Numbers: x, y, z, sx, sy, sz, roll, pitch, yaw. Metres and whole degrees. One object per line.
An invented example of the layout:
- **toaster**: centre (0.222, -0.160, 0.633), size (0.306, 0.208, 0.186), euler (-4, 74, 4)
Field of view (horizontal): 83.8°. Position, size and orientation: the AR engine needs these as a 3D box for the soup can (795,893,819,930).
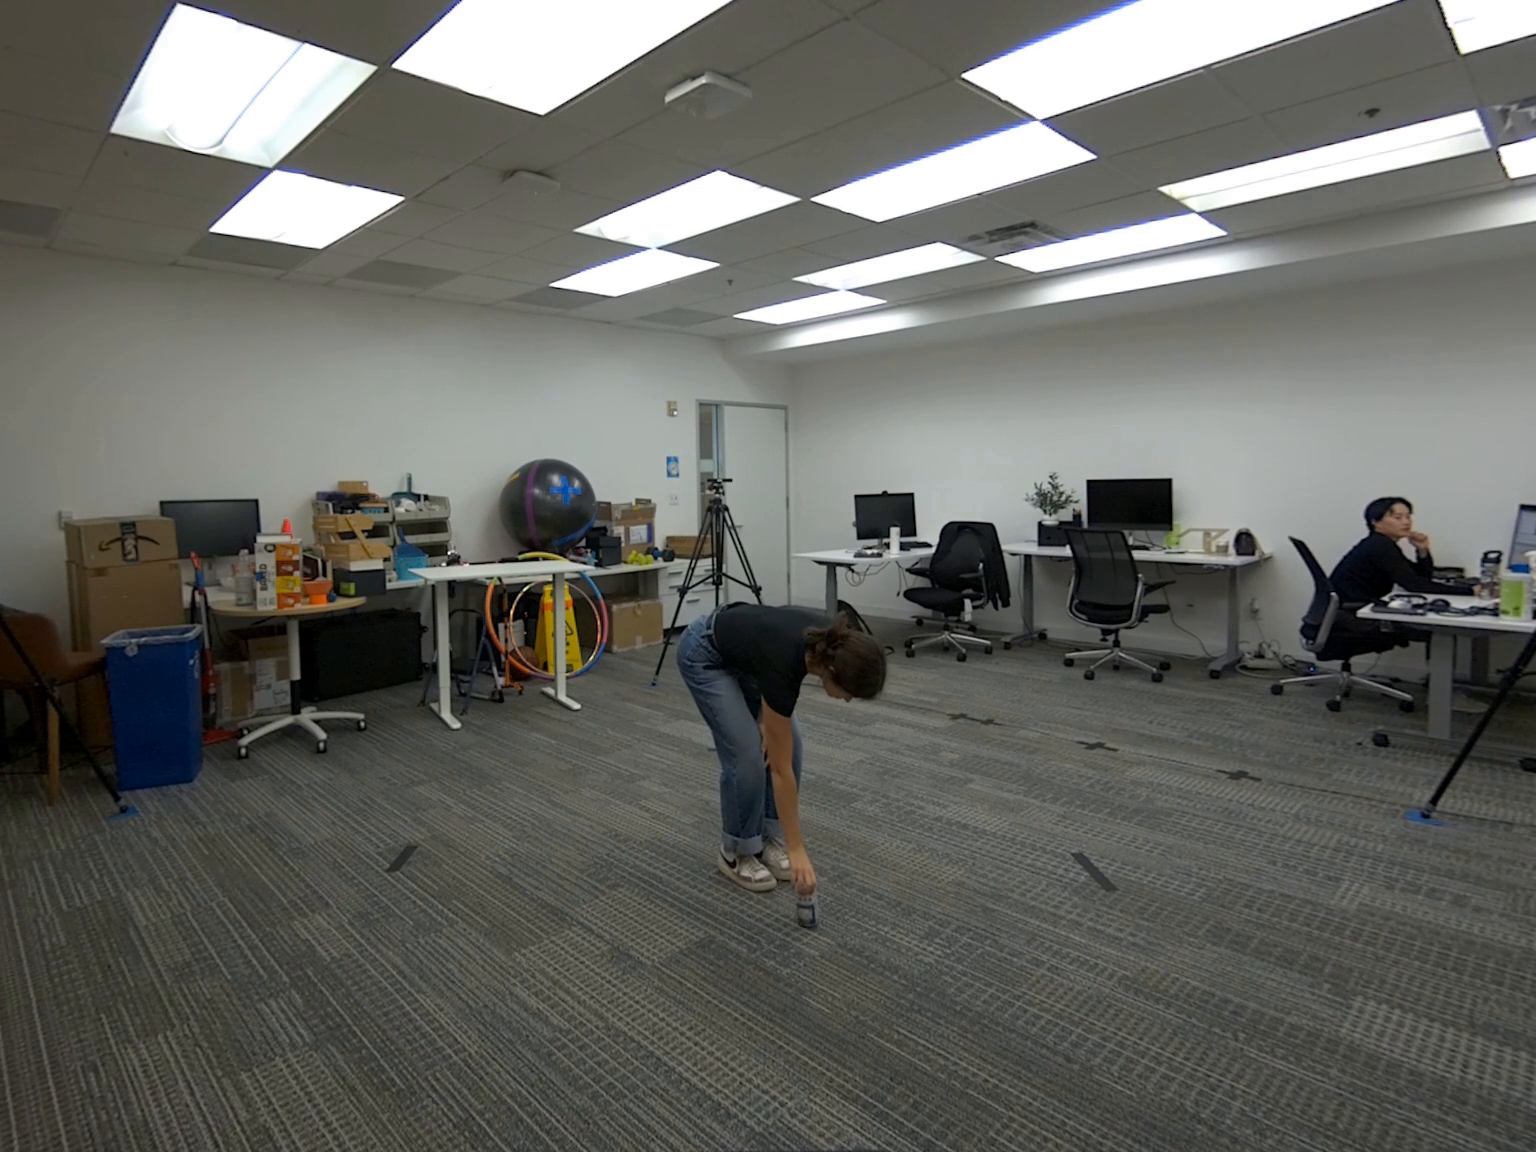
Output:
- **soup can**: centre (0.120, 1.024, 2.681), size (0.067, 0.121, 0.067), euler (-6, 3, -1)
